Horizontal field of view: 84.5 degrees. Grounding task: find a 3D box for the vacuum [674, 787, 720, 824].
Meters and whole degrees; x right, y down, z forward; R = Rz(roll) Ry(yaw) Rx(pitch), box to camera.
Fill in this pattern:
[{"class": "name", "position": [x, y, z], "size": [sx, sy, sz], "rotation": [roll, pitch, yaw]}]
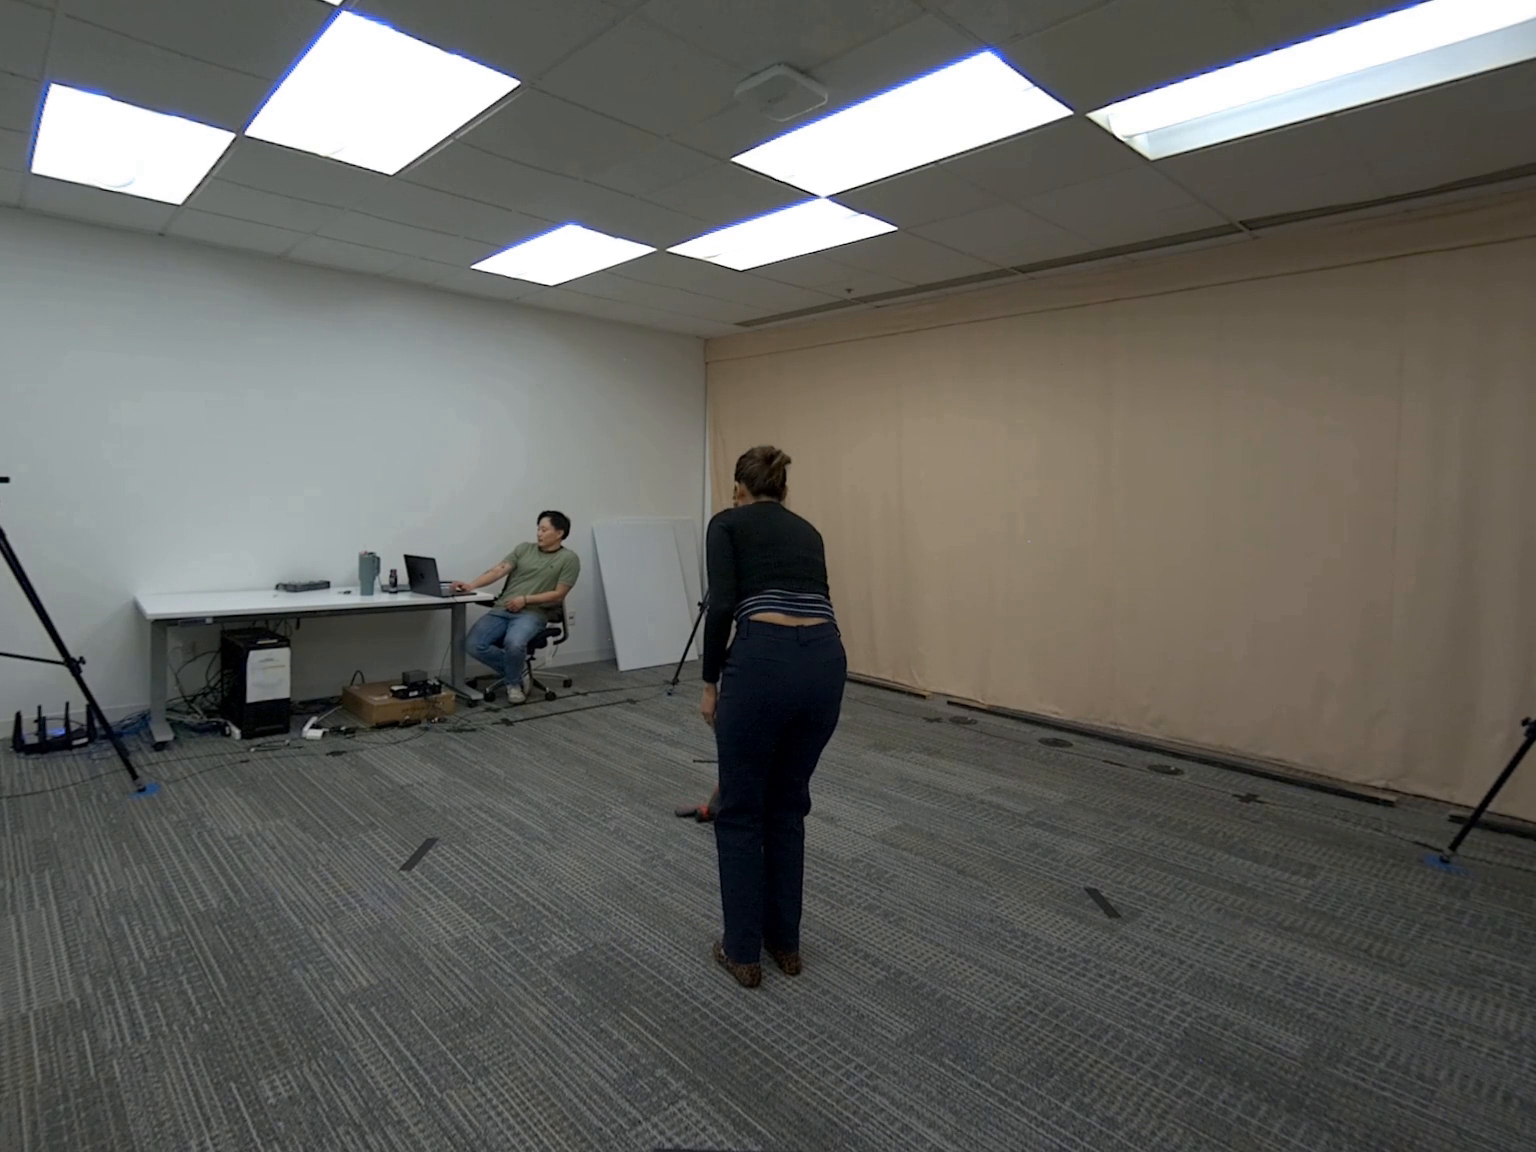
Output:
[{"class": "vacuum", "position": [-0.094, 0.772, 3.276], "size": [0.248, 0.147, 1.043], "rotation": [3, -32, -22]}]
